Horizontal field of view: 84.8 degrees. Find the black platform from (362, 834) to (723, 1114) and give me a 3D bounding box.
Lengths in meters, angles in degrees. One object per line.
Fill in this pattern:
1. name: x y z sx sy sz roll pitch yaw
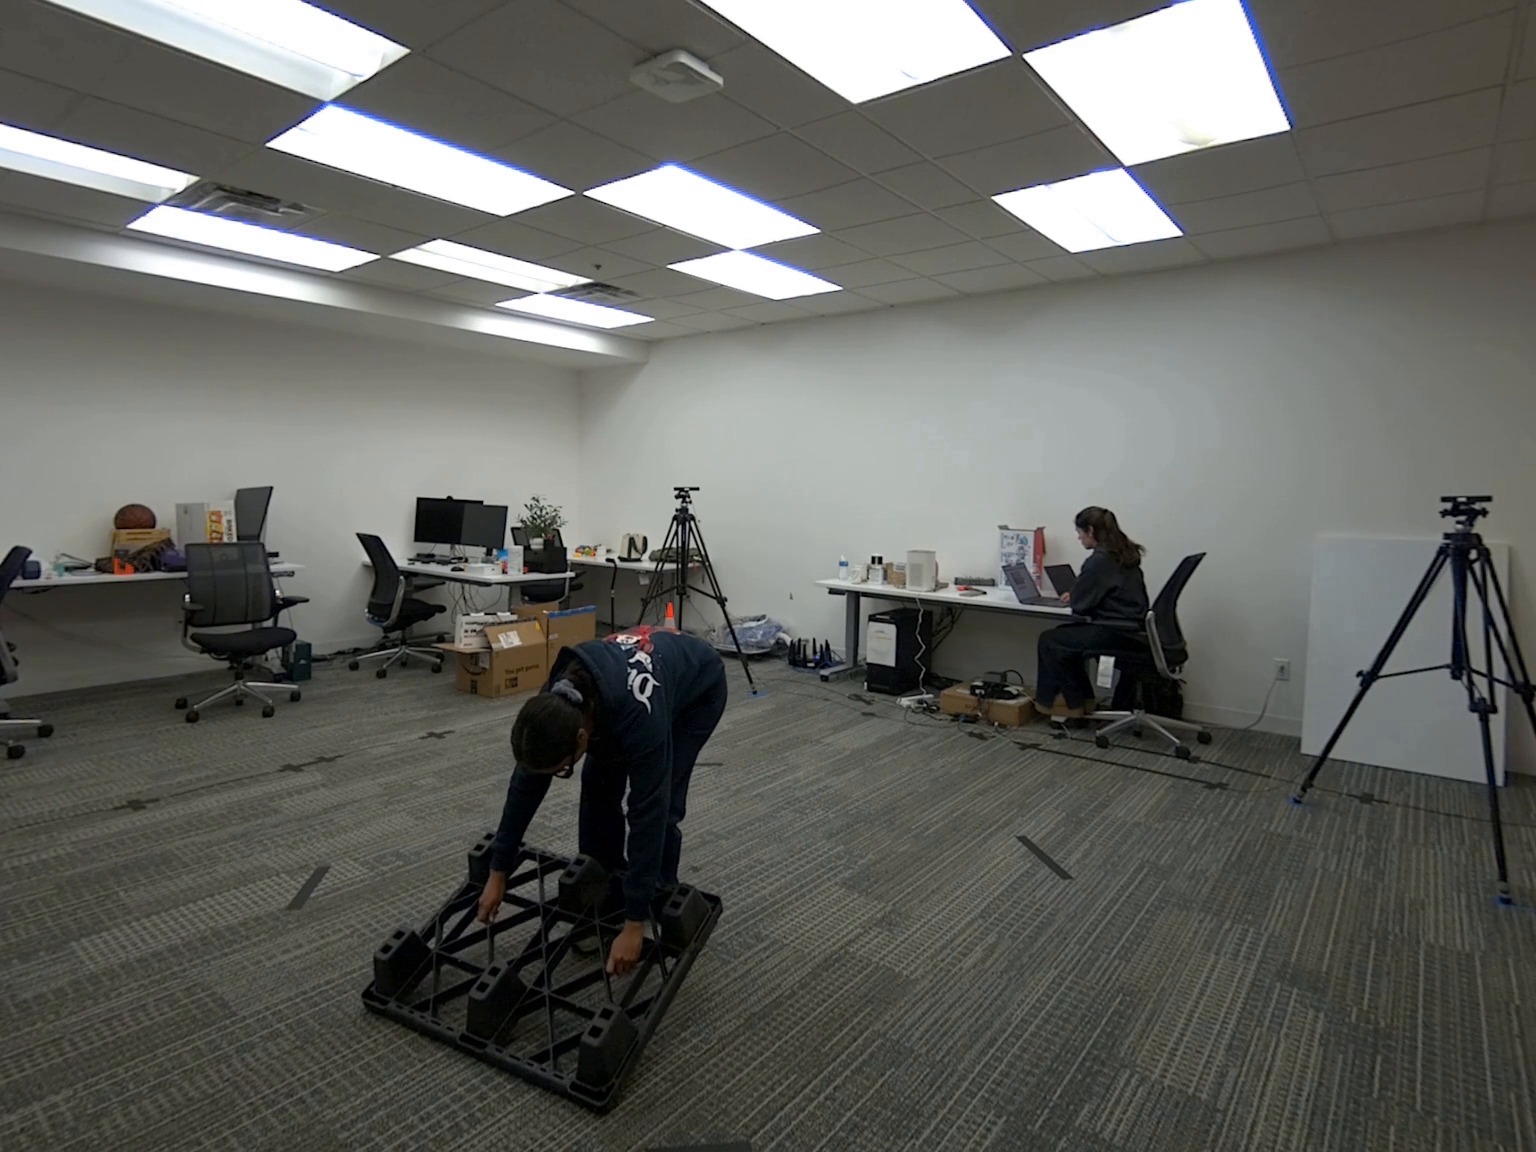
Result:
1. black platform: -0.612 0.975 2.262 0.828 0.139 0.604 4 30 27
